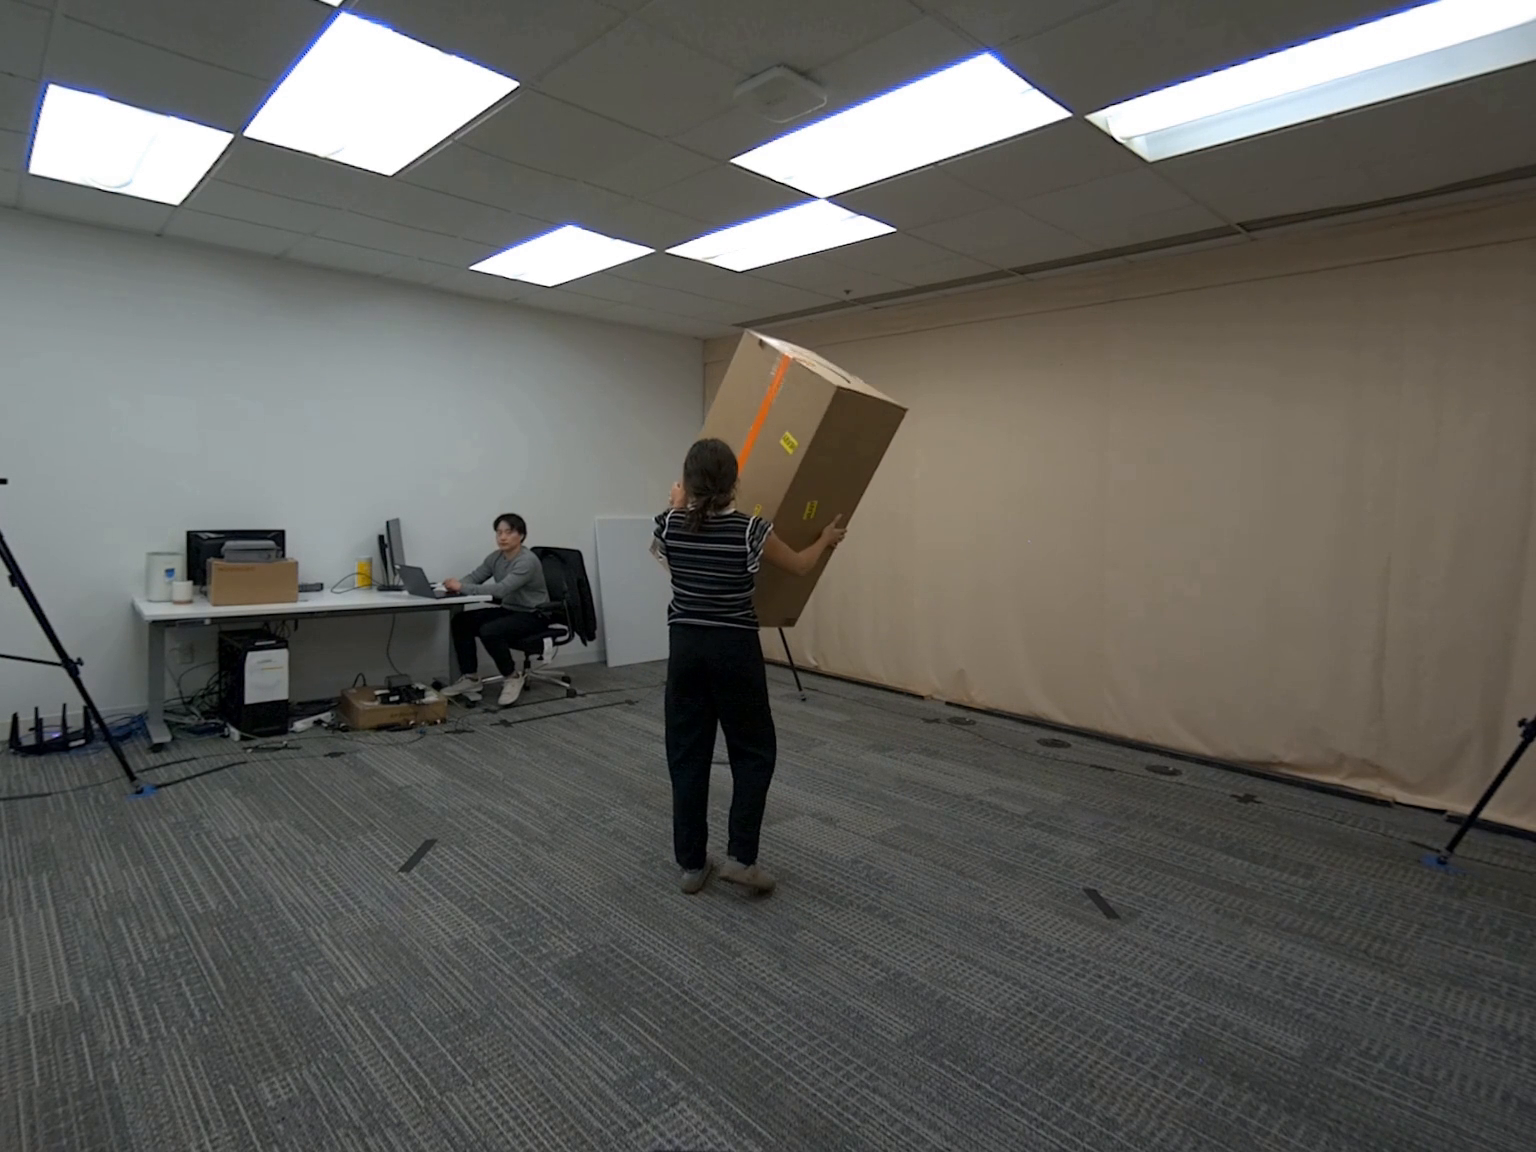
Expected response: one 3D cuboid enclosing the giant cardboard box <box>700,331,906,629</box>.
[{"bbox_3d":[0.003,-0.367,3.403,0.415,1.019,0.596,6,28,-45],"label":"giant cardboard box"}]
